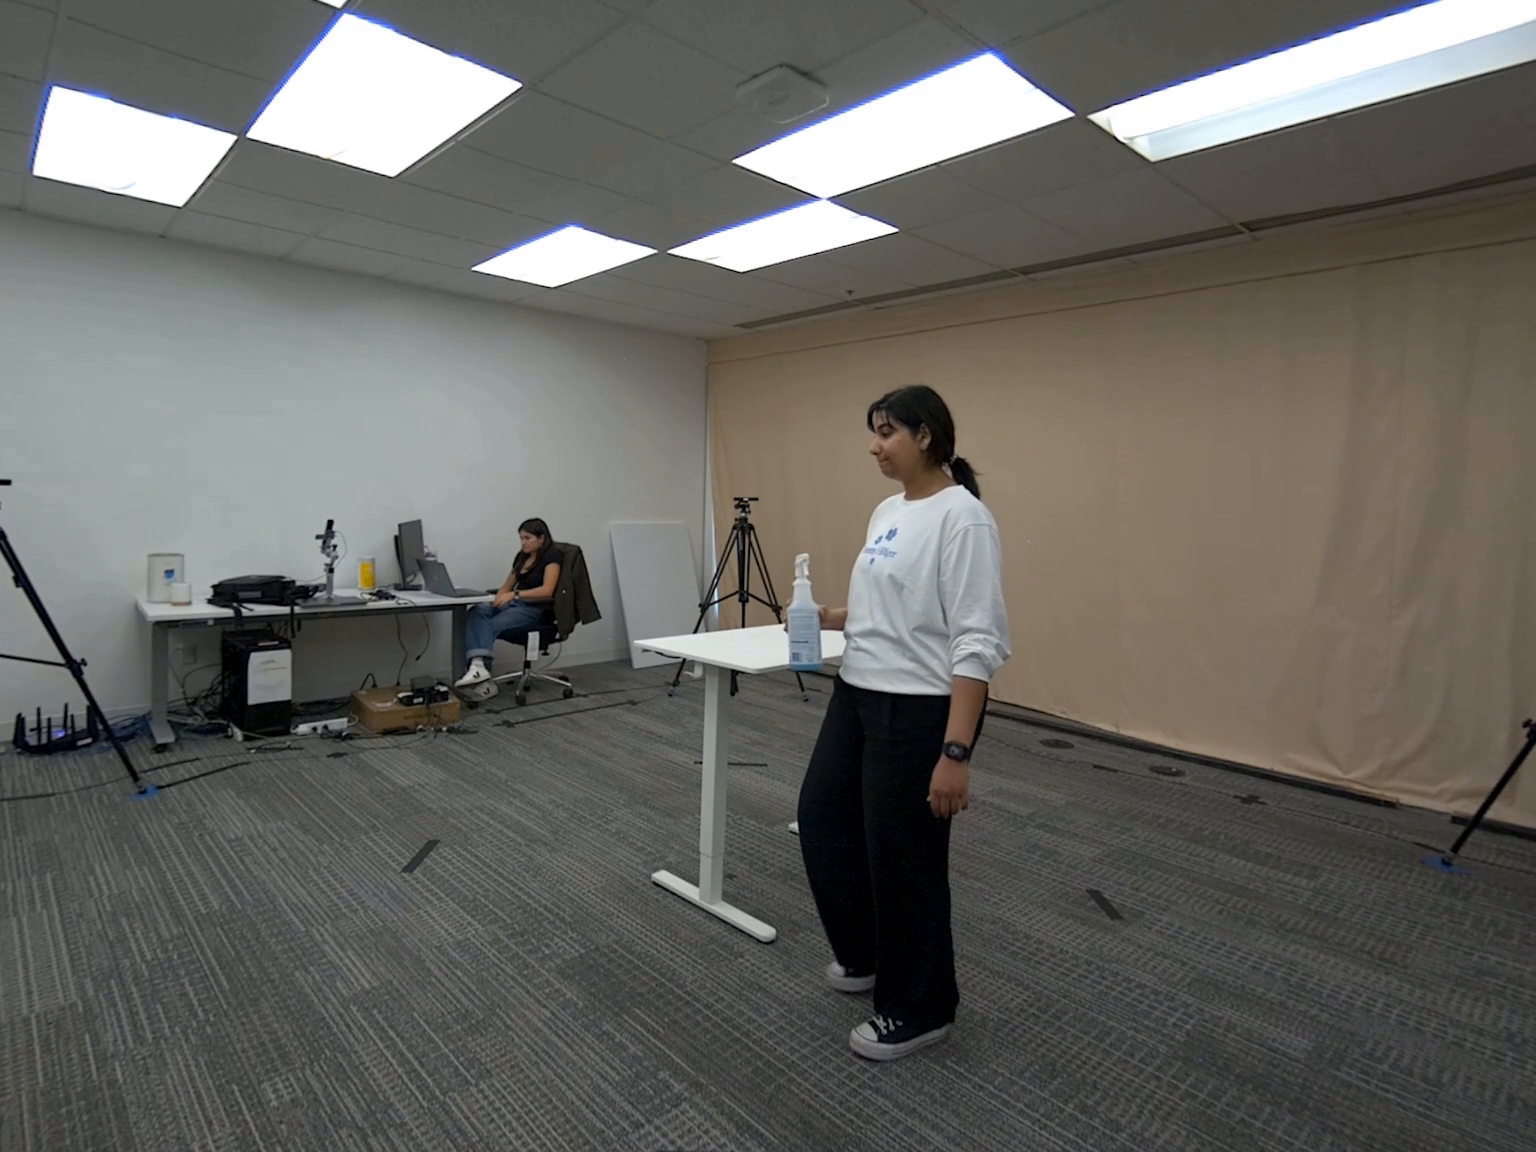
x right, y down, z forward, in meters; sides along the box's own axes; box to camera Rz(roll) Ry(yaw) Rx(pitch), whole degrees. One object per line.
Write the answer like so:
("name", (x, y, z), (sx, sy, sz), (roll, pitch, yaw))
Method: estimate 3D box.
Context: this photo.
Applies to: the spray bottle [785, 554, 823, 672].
("spray bottle", (0.096, 0.101, 2.172), (0.088, 0.298, 0.089), (0, -4, 12))
